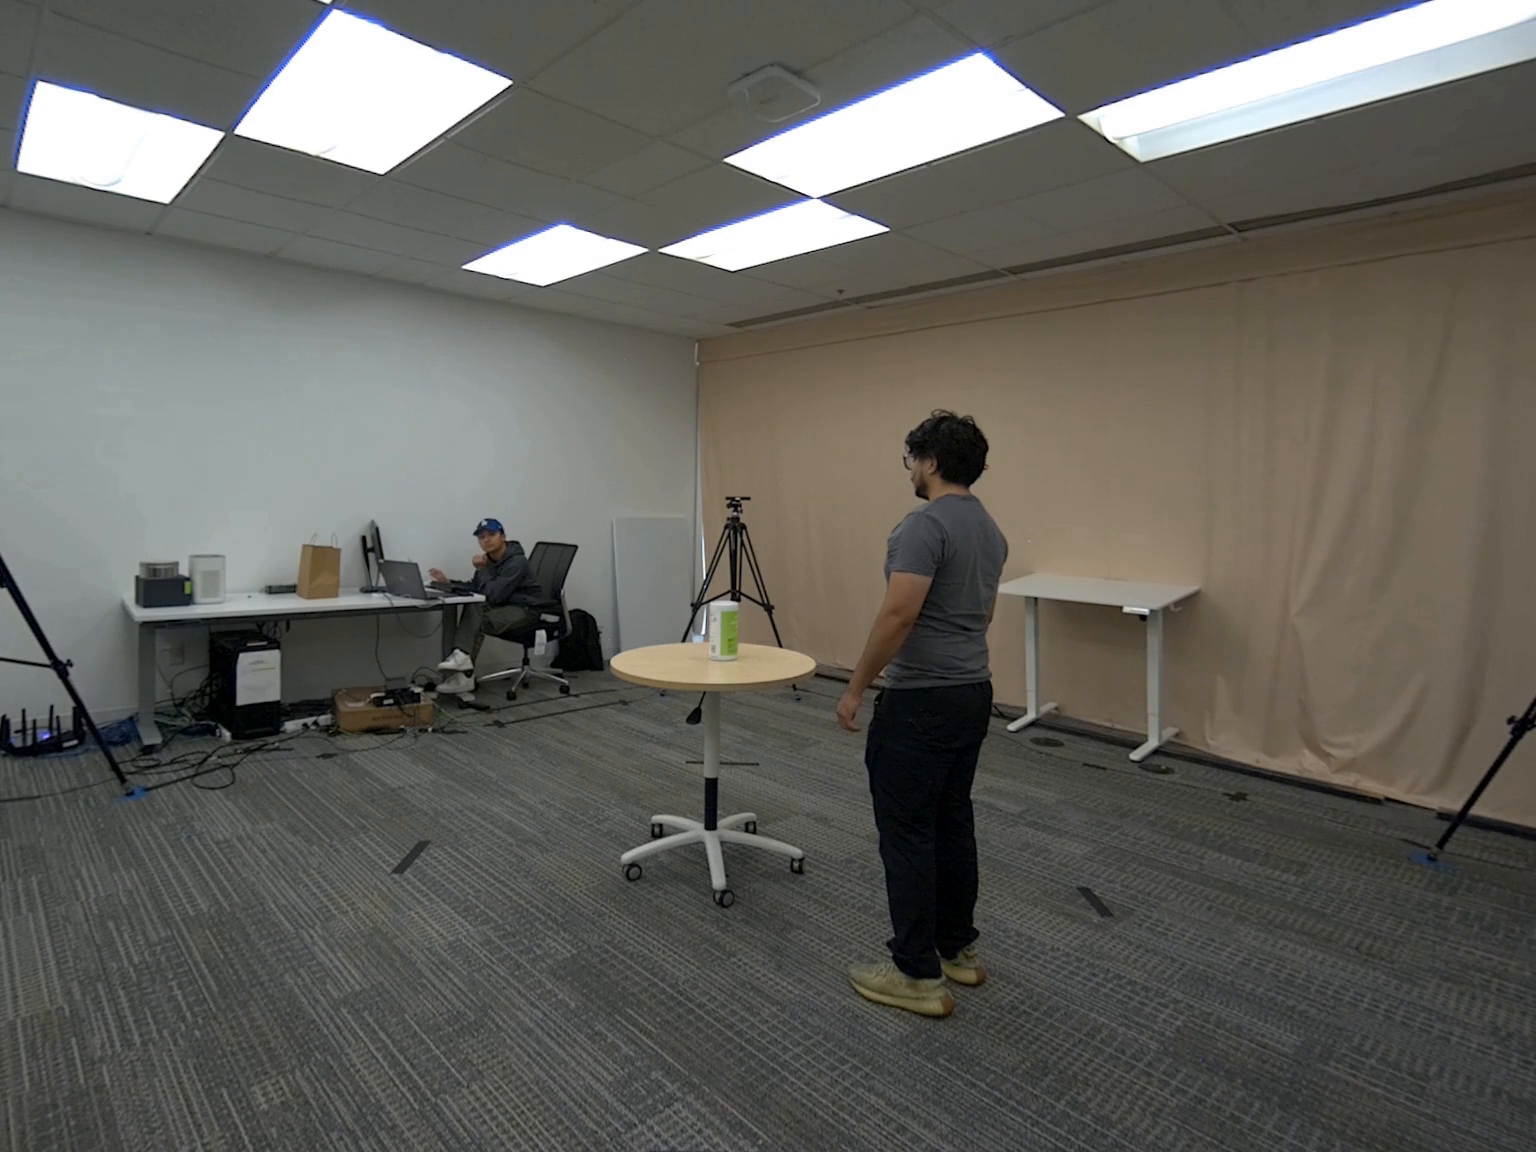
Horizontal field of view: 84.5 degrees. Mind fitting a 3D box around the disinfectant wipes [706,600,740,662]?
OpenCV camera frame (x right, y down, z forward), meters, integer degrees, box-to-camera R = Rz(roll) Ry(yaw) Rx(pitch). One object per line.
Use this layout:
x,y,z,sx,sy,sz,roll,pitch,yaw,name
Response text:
-0.178,0.207,3.187,0.118,0.217,0.118,1,4,-1,disinfectant wipes
